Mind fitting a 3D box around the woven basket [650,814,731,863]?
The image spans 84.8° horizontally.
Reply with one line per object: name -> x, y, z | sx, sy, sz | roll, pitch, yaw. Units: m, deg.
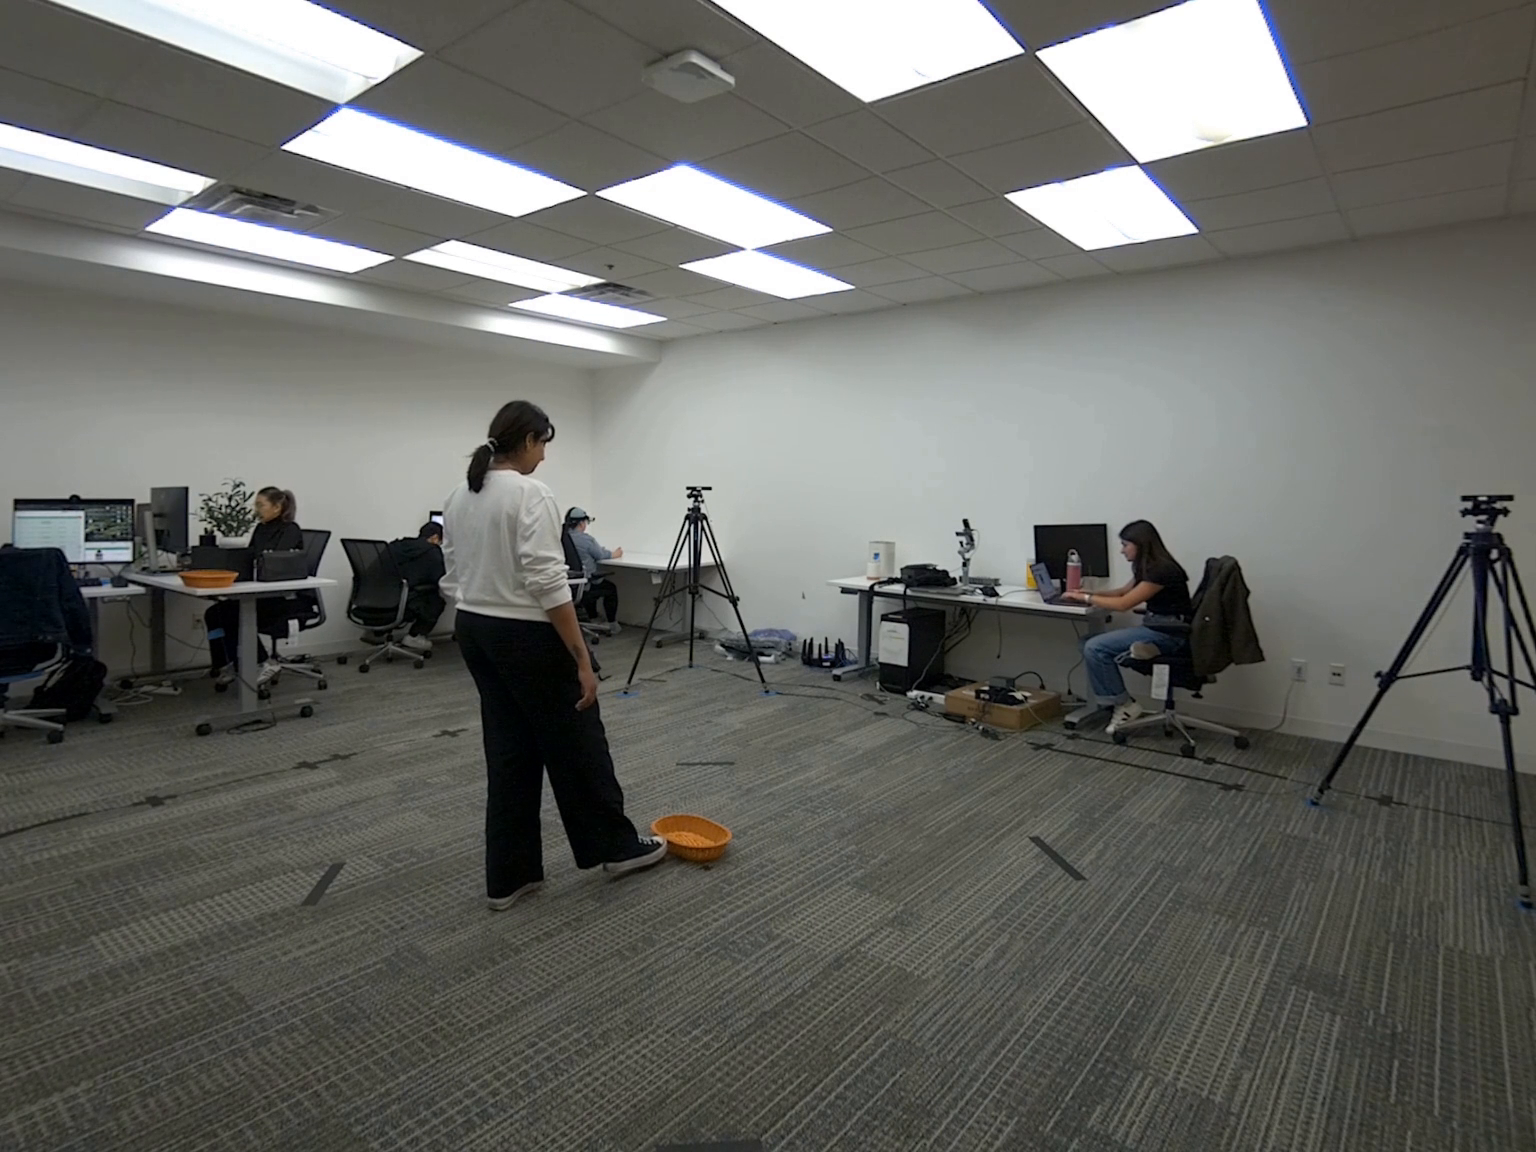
woven basket -> -0.304, 1.006, 3.269 | 0.245, 0.073, 0.362 | -4, 7, -43
